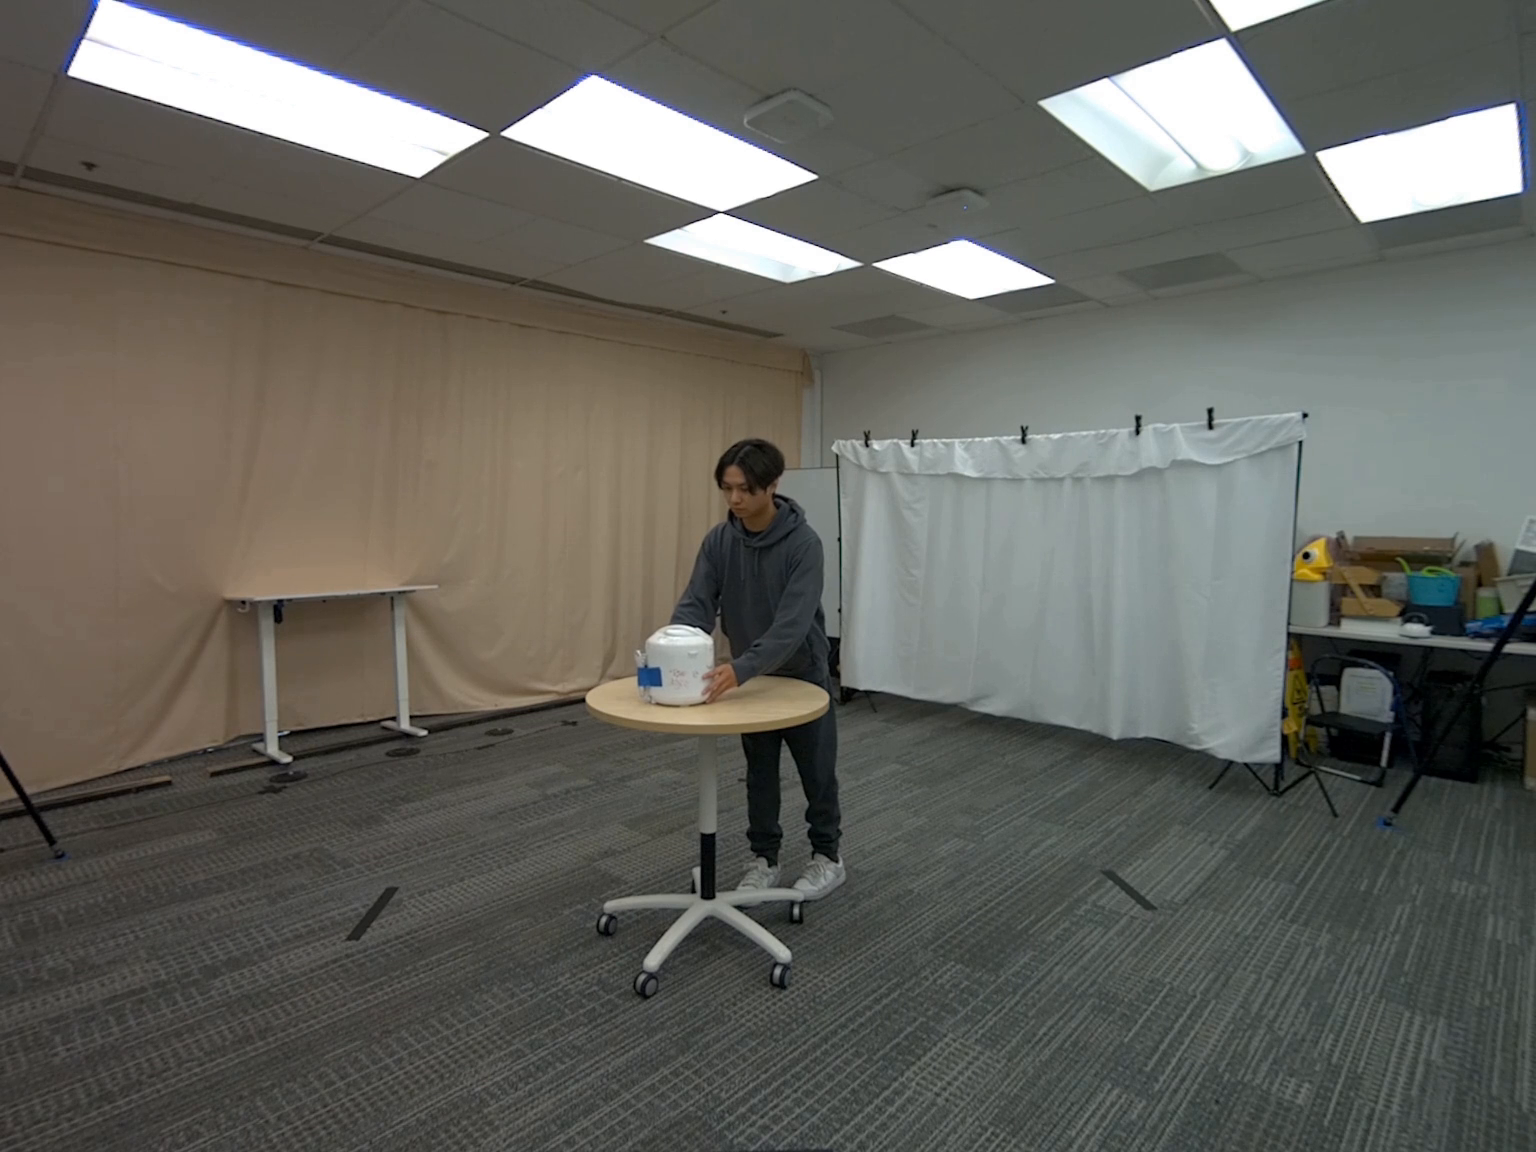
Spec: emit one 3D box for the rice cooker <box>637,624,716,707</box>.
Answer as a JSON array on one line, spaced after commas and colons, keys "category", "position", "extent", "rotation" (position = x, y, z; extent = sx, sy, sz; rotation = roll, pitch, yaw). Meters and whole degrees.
[{"category": "rice cooker", "position": [-0.263, 0.266, 2.579], "extent": [0.226, 0.232, 0.212], "rotation": [2, 4, 25]}]
